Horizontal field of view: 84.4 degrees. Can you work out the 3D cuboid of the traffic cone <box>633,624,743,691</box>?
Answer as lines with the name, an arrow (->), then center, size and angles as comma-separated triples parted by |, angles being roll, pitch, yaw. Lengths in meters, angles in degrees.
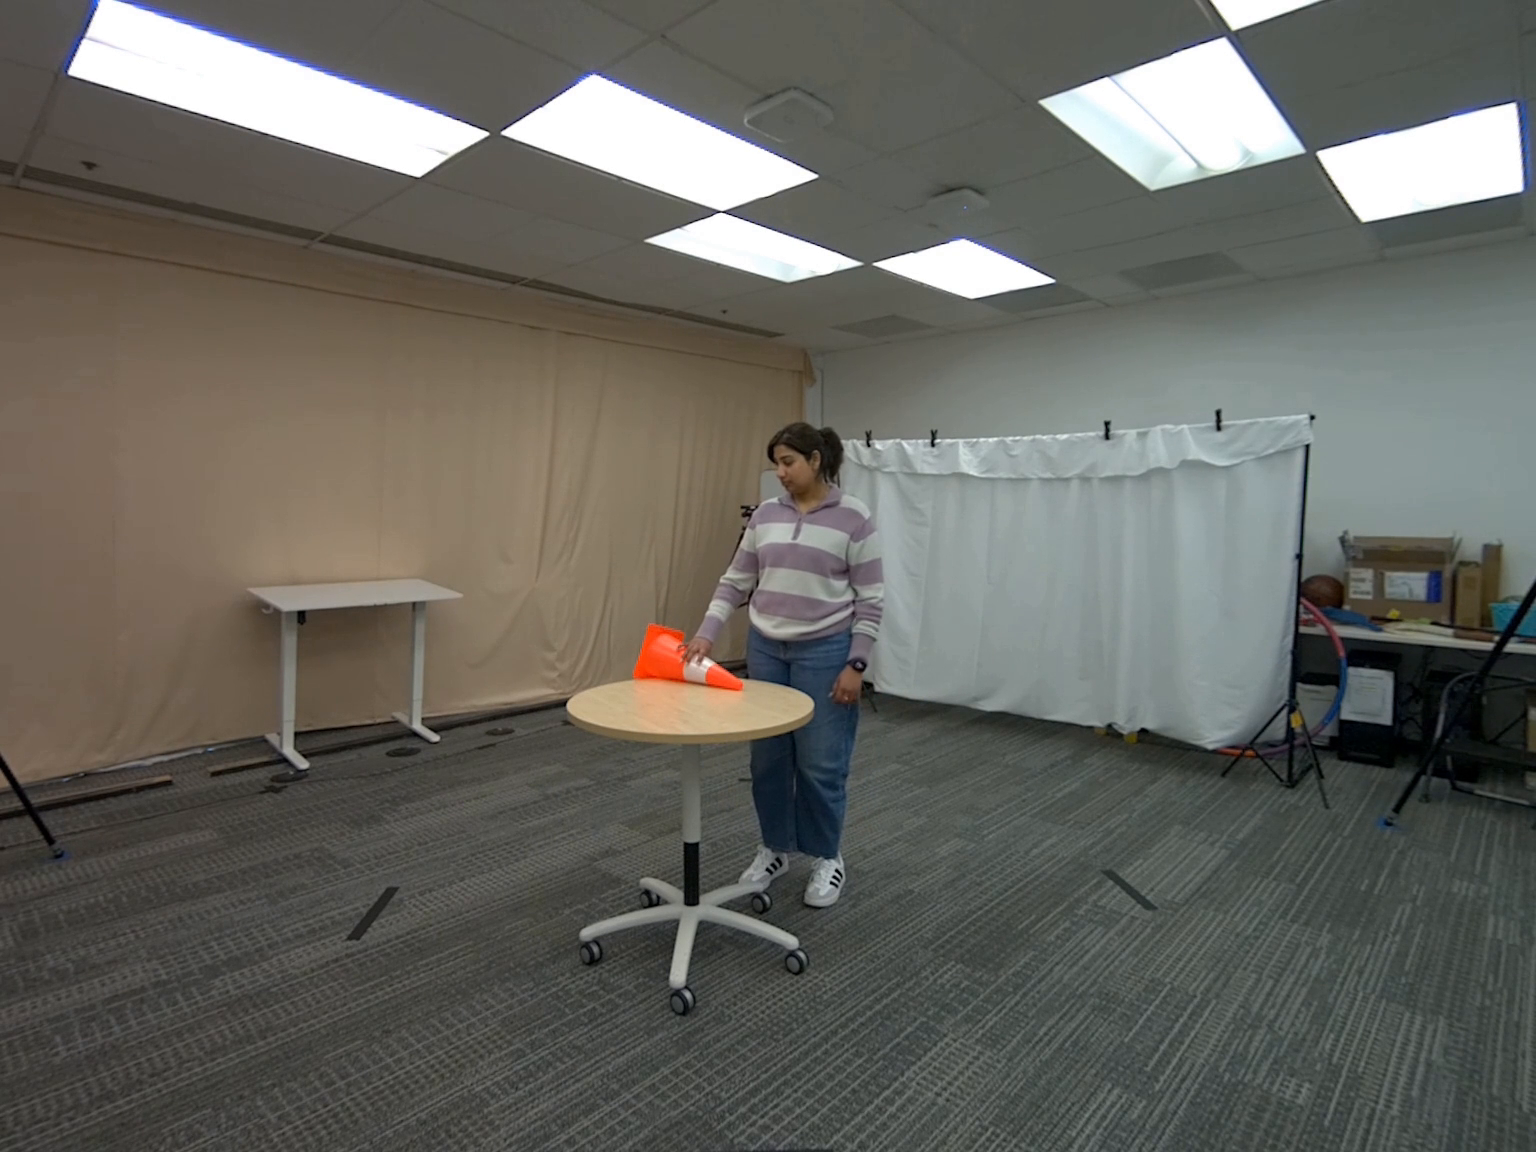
traffic cone -> -0.235, 0.322, 2.889 | 0.397, 0.203, 0.198 | 14, -3, 37
